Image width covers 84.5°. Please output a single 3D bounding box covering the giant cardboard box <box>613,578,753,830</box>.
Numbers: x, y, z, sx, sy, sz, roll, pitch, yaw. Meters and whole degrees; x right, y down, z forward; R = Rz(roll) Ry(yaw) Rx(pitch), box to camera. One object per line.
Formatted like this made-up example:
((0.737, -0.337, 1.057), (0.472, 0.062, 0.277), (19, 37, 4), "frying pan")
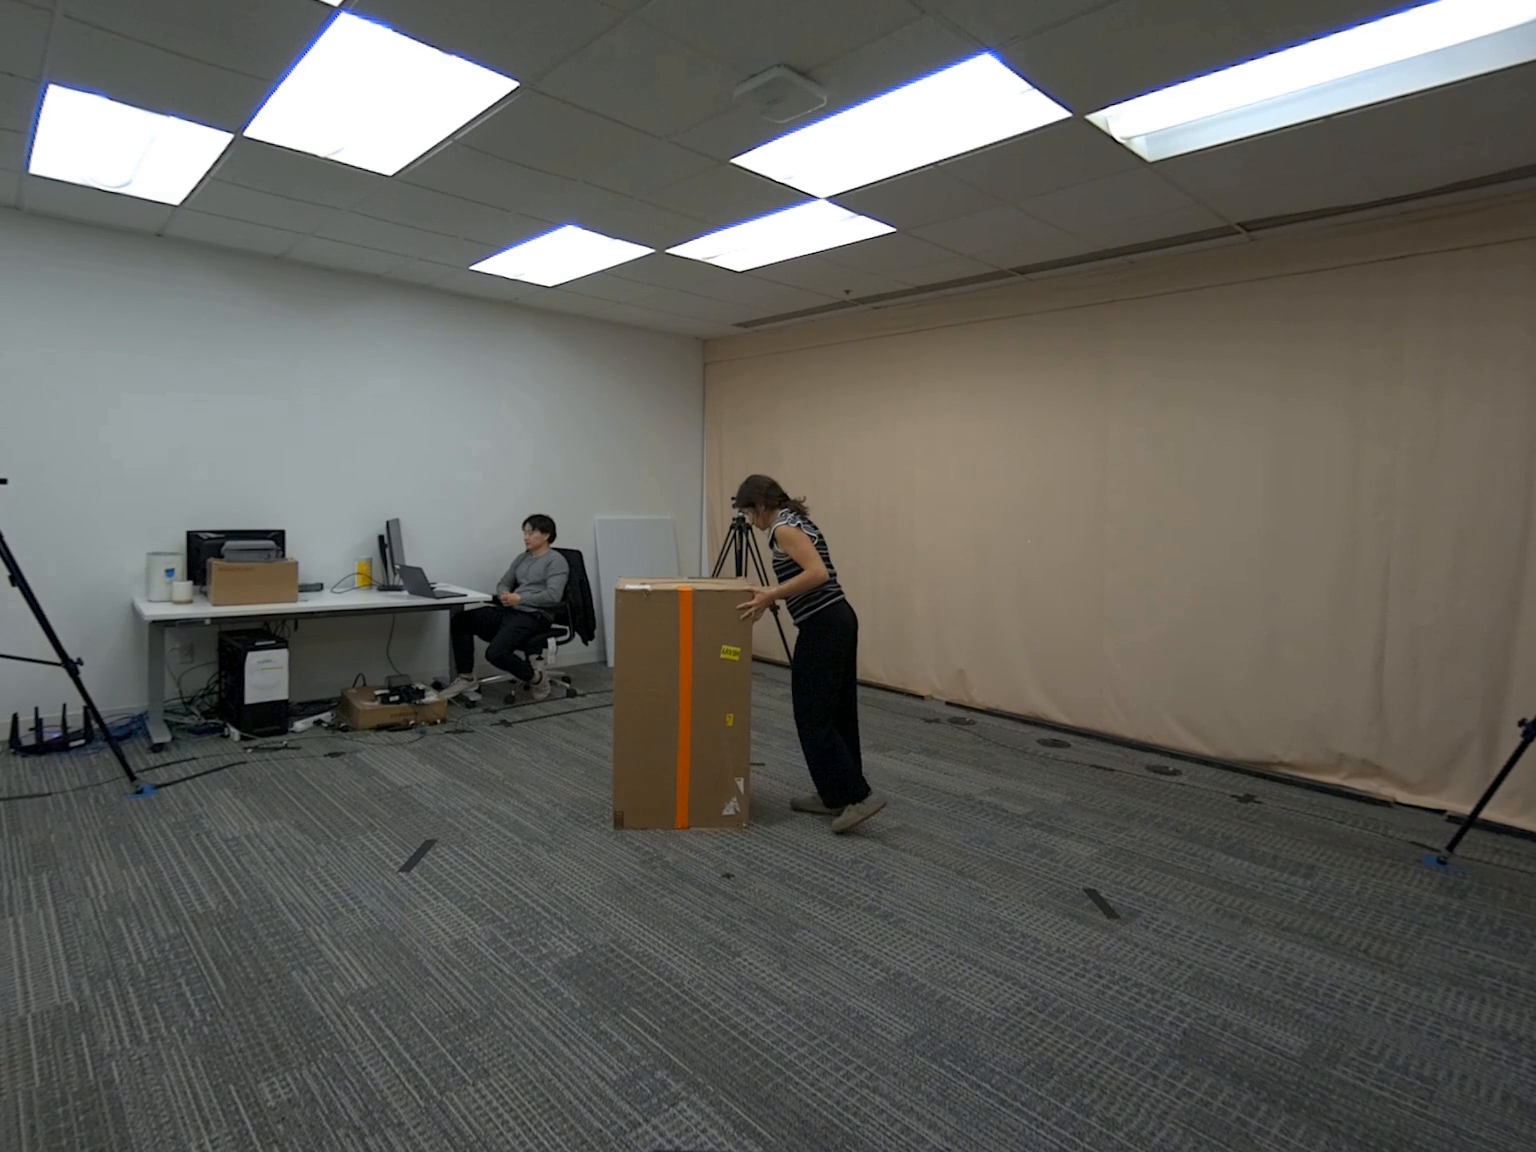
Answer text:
((-0.387, 0.540, 3.708), (0.575, 1.023, 0.429), (1, 4, -5), "giant cardboard box")
